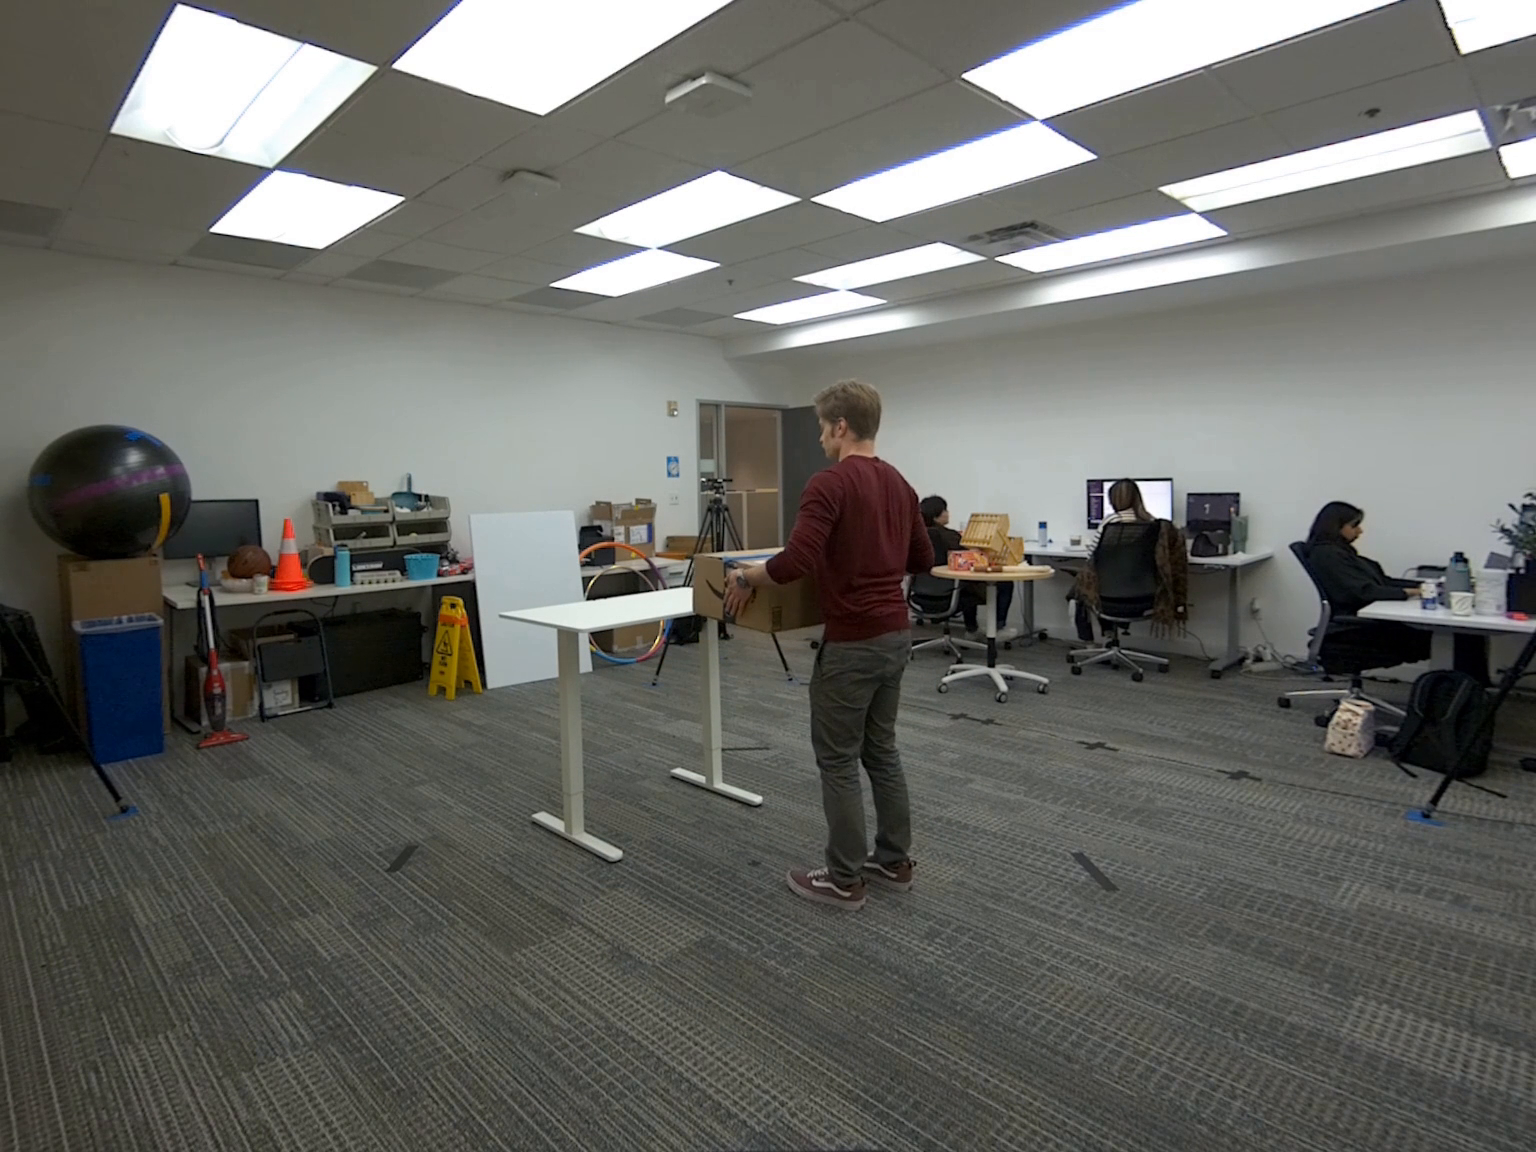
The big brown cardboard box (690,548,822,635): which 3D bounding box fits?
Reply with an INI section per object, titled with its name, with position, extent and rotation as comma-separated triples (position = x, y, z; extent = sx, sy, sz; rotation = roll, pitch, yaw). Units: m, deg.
[big brown cardboard box]
position = 0.065, 0.032, 3.109
extent = 0.573, 0.232, 0.431
rotation = -5, 10, -41
